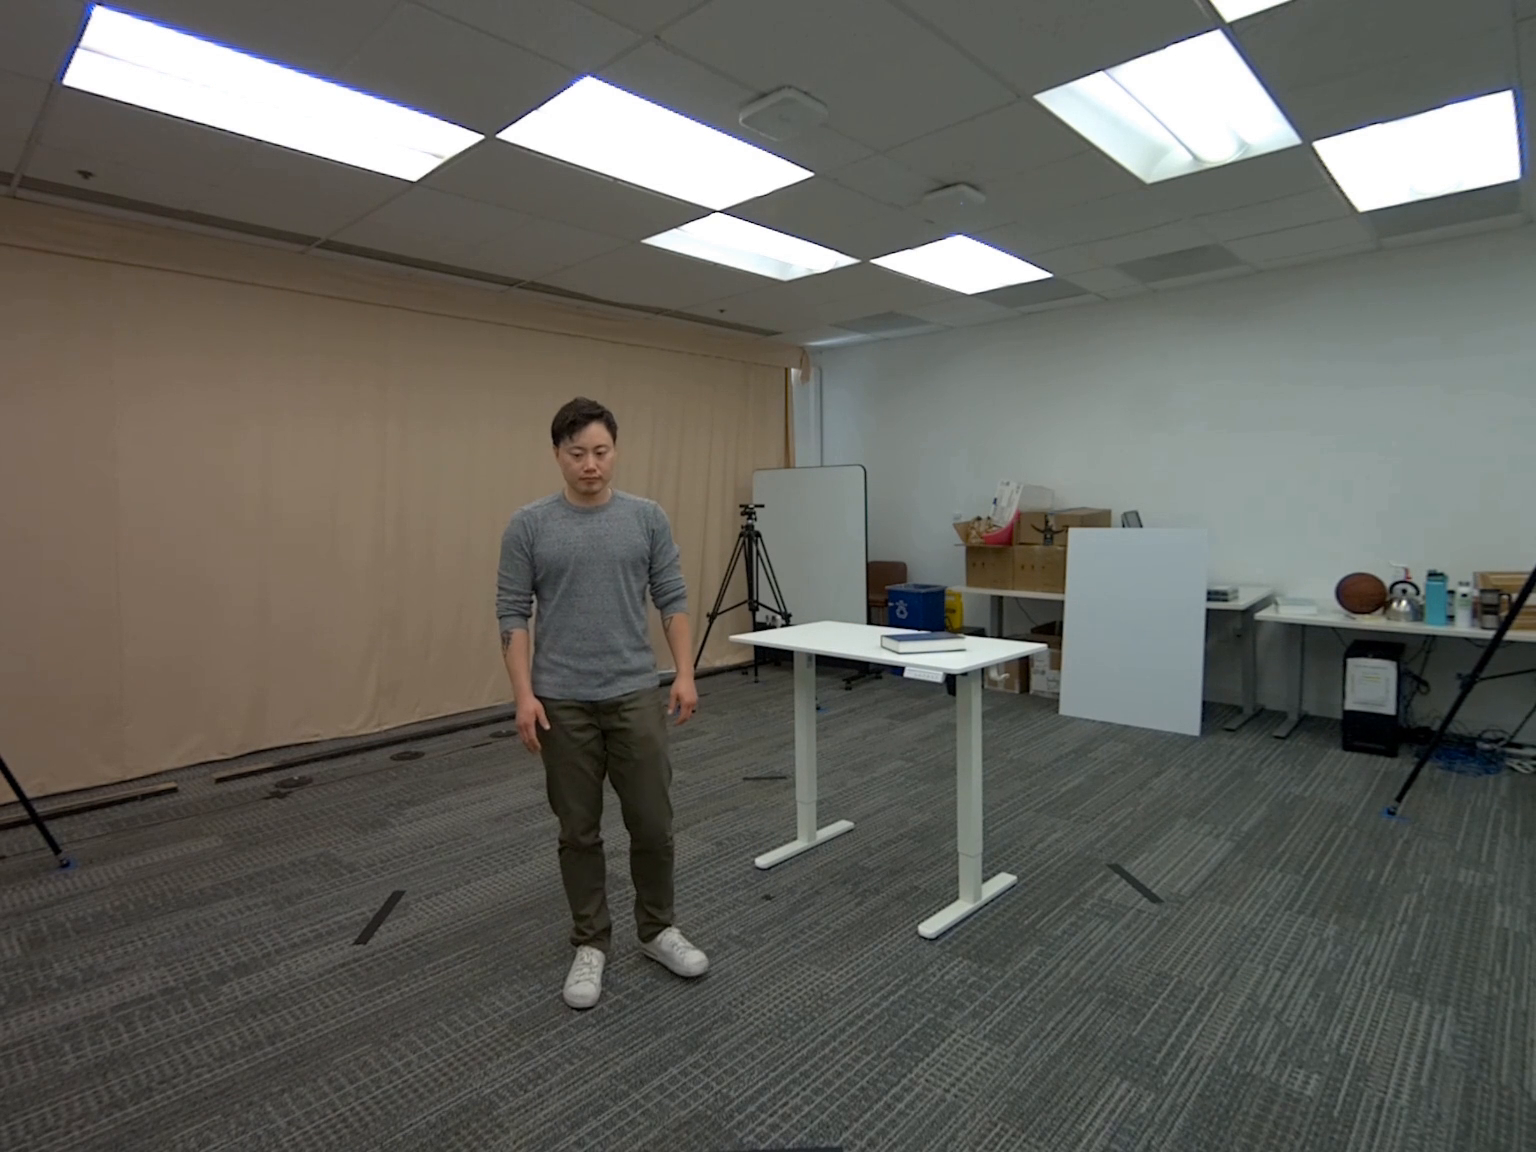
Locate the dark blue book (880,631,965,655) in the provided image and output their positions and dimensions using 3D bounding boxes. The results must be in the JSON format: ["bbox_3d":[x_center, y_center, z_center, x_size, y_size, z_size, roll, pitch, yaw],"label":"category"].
[{"bbox_3d":[0.548,0.232,2.912,0.242,0.045,0.166,-1,3,-12],"label":"dark blue book"}]
